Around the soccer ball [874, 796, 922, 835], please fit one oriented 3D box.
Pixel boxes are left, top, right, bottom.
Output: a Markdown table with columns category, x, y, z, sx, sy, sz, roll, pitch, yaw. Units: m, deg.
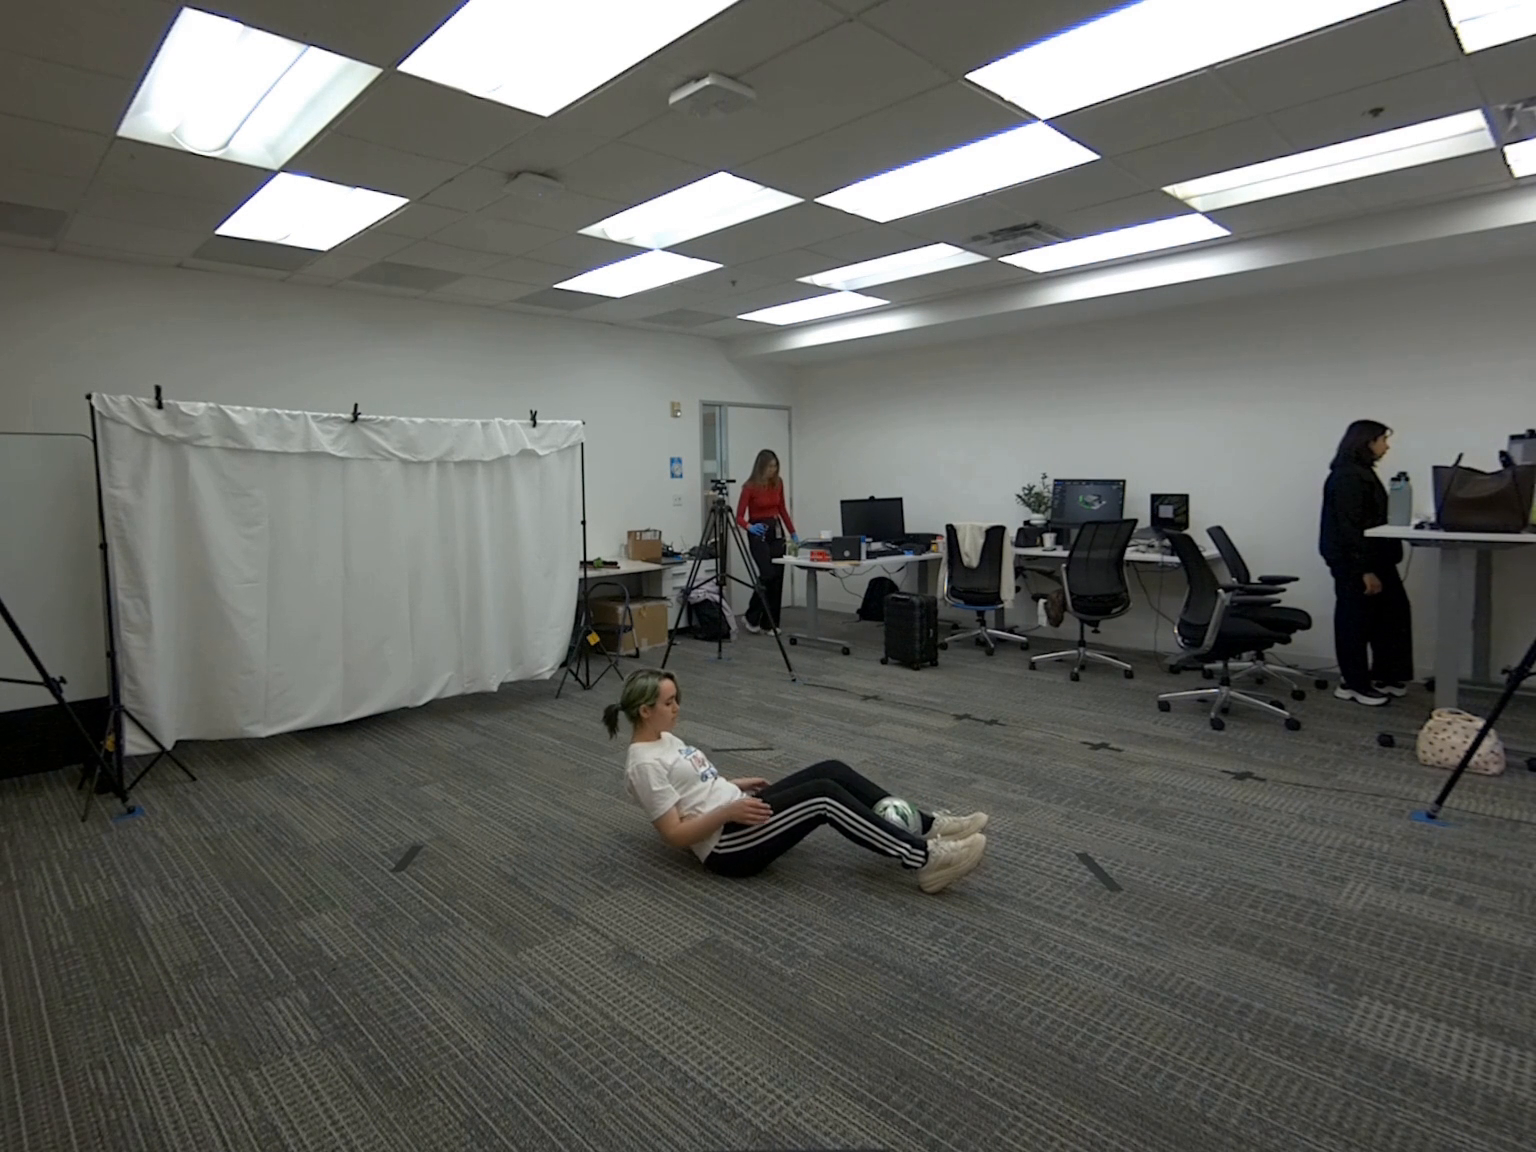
| category | x | y | z | sx | sy | sz | roll | pitch | yaw |
| --- | --- | --- | --- | --- | --- | --- | --- | --- | --- |
| soccer ball | 0.444 | 0.875 | 3.030 | 0.187 | 0.187 | 0.188 | -1 | 5 | -2 |
